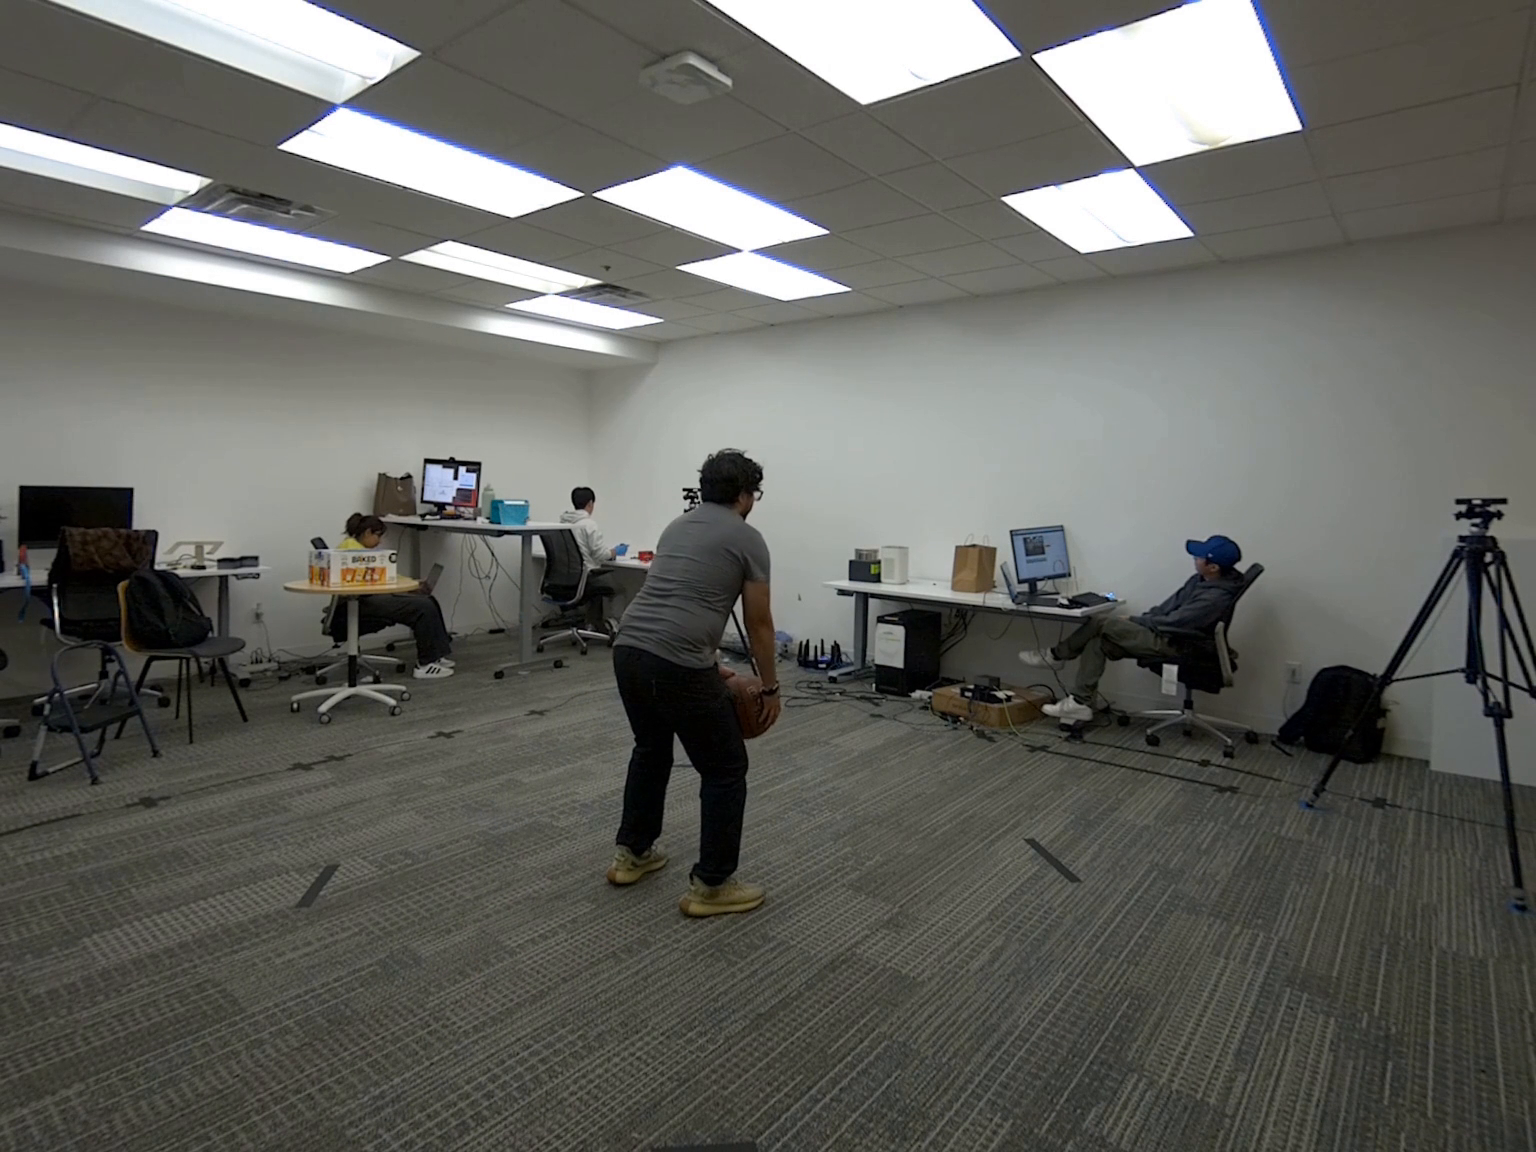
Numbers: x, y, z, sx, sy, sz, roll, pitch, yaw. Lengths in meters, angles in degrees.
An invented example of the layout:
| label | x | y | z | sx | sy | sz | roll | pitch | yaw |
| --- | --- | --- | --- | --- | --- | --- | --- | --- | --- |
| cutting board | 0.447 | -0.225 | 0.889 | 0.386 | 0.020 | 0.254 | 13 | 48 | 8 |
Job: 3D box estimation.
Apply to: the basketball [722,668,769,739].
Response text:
| label | x | y | z | sx | sy | sz | roll | pitch | yaw |
| --- | --- | --- | --- | --- | --- | --- | --- | --- | --- |
| basketball | -0.097 | 0.483 | 3.174 | 0.235 | 0.235 | 0.237 | 1 | 4 | -2 |
